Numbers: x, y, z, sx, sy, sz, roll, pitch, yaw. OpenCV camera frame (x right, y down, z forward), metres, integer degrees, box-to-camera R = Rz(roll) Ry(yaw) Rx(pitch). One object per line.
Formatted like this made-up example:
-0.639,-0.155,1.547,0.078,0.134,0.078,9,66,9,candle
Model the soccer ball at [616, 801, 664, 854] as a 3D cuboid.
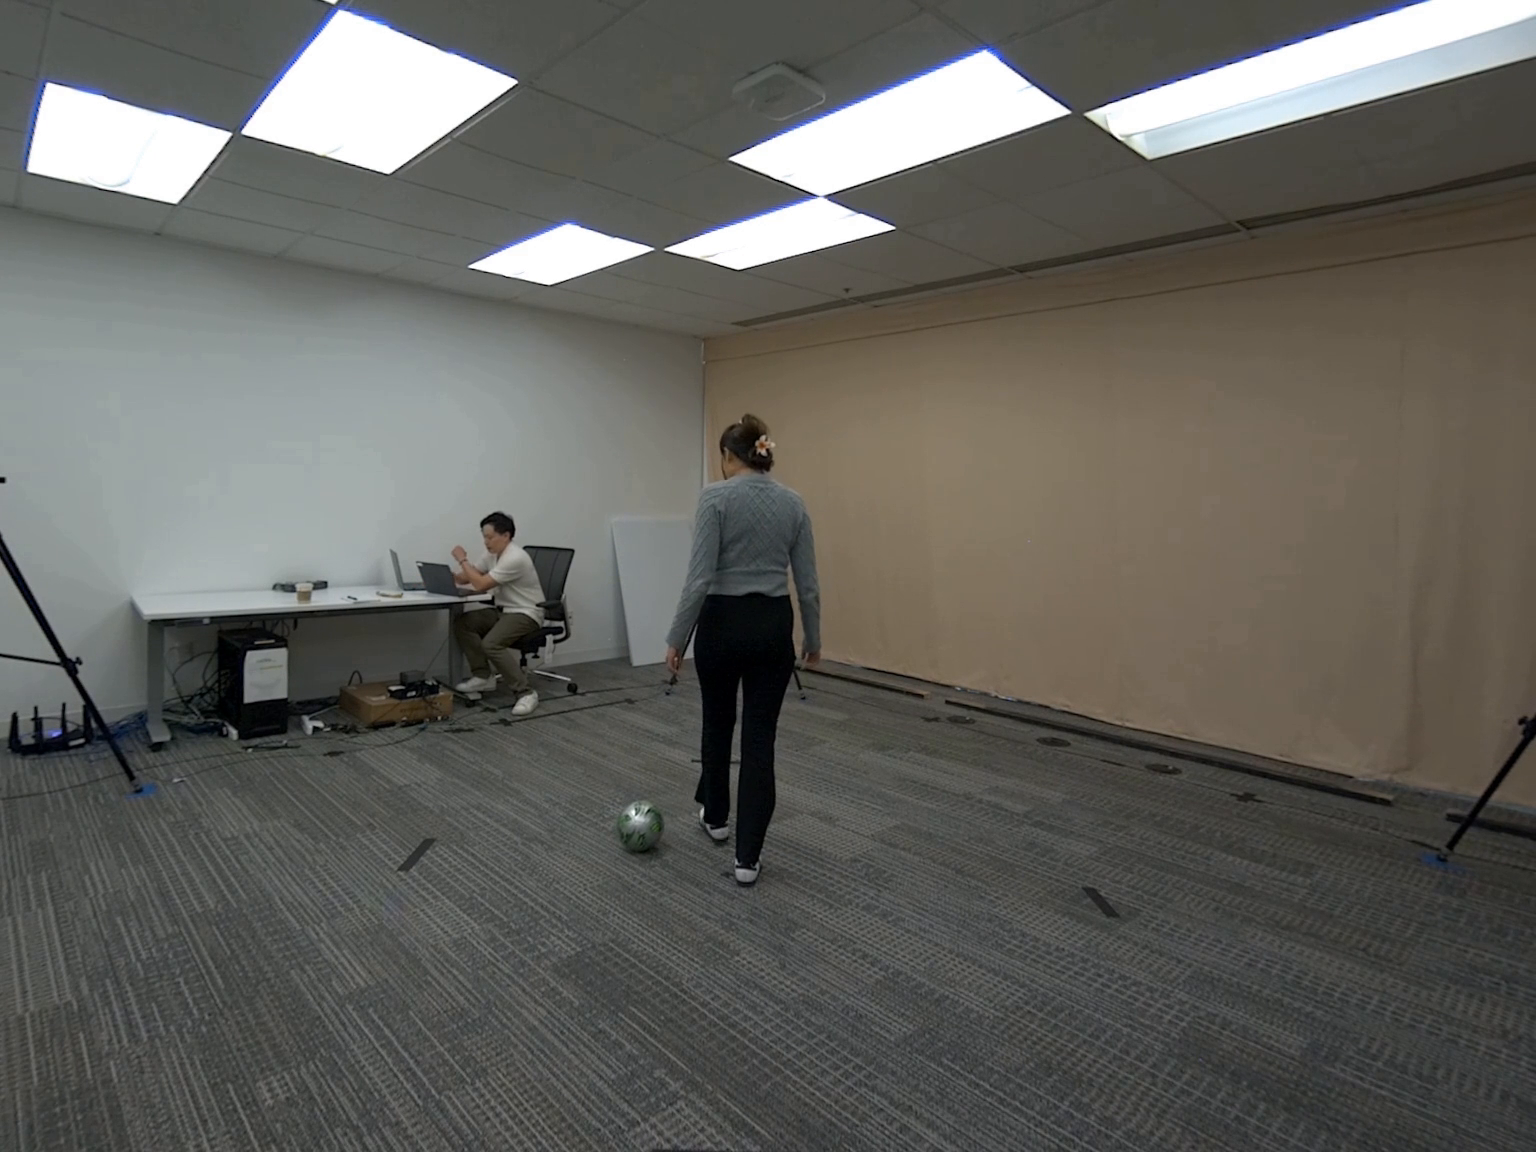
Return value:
-0.511,0.978,3.306,0.187,0.187,0.188,1,4,-1,soccer ball
